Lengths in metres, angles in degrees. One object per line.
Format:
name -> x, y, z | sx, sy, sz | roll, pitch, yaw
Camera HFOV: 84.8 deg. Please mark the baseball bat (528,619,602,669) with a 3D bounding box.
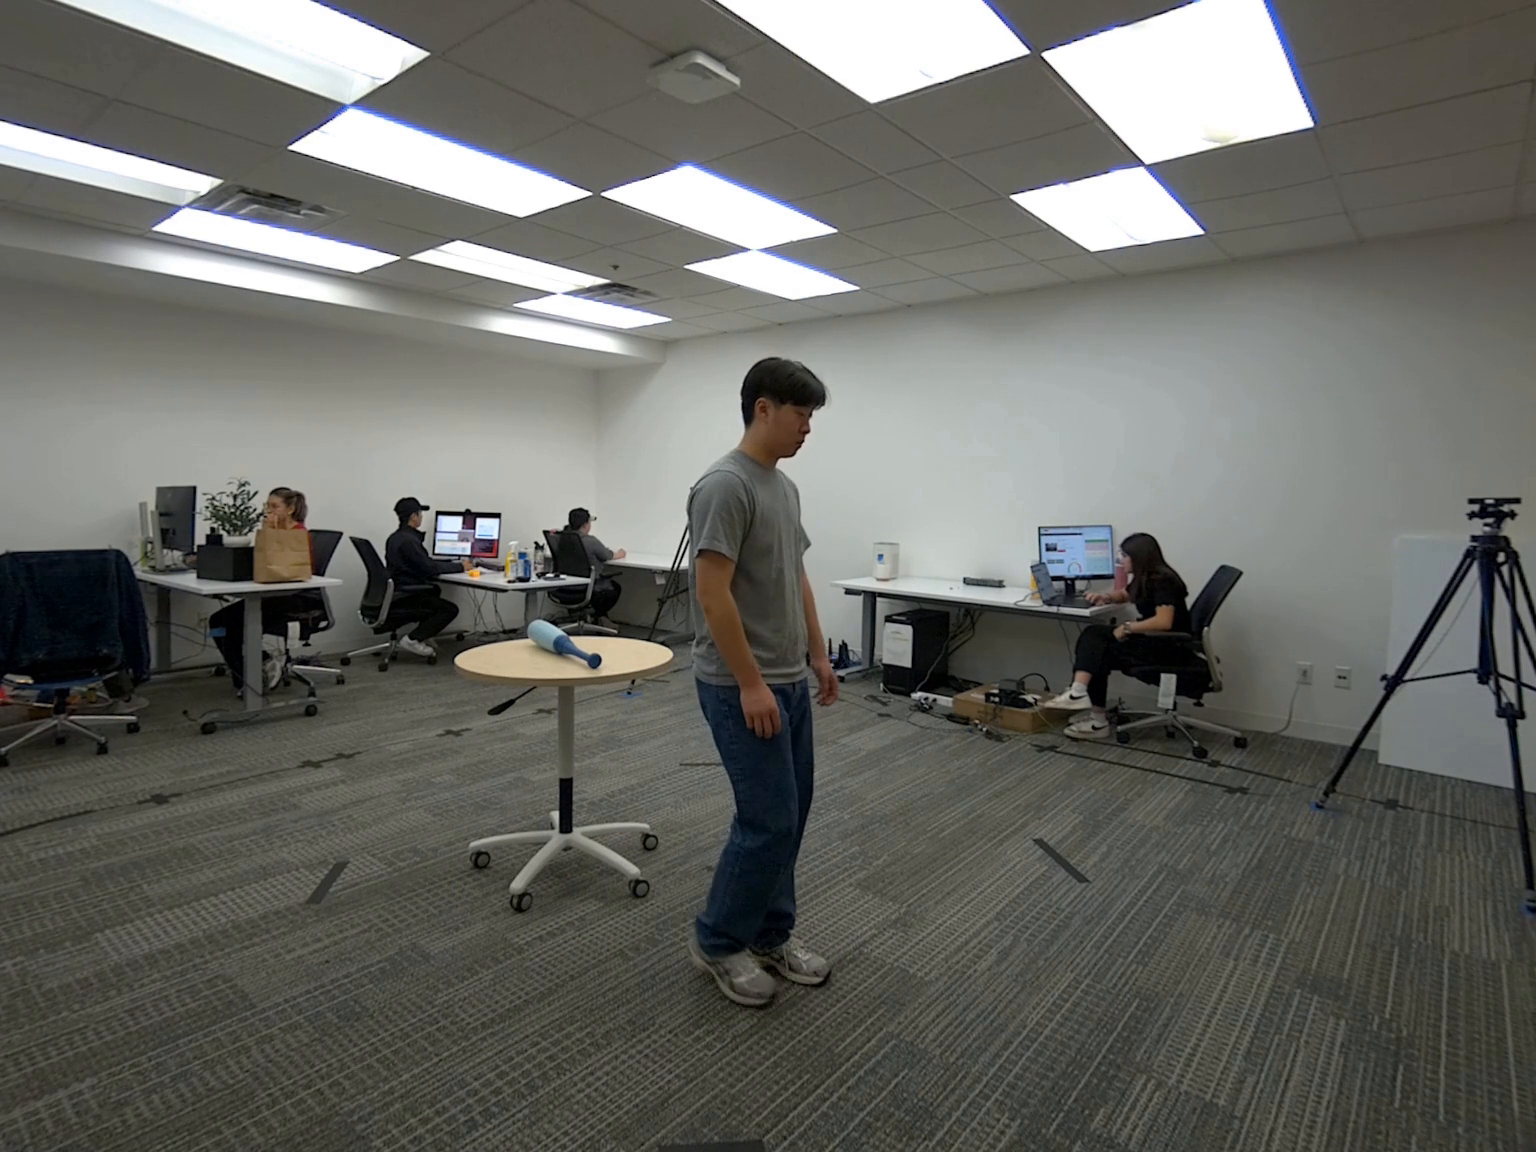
baseball bat -> -0.738, 0.246, 3.023 | 0.086, 0.088, 0.562 | -2, 9, -36
